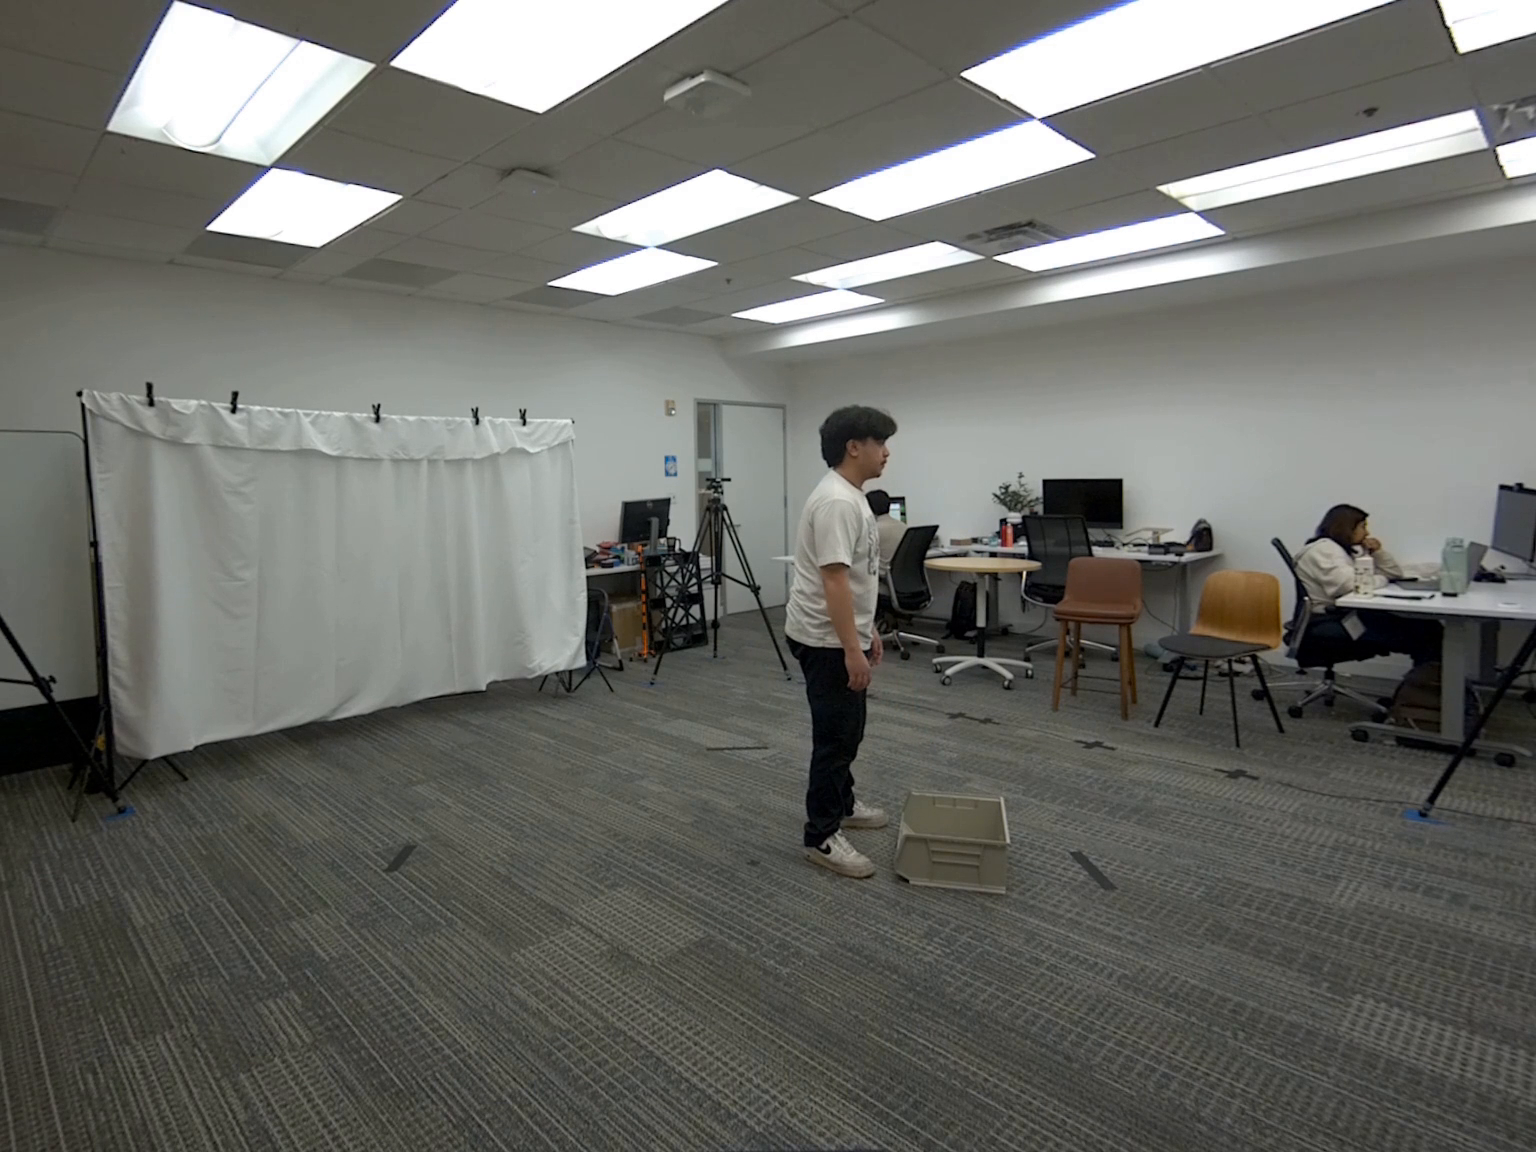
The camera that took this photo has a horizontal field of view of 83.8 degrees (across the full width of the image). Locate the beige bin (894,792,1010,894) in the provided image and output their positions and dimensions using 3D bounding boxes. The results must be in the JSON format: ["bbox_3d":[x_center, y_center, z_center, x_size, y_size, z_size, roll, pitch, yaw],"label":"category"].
[{"bbox_3d":[0.661,0.944,3.075,0.382,0.188,0.418,1,5,13],"label":"beige bin"}]
